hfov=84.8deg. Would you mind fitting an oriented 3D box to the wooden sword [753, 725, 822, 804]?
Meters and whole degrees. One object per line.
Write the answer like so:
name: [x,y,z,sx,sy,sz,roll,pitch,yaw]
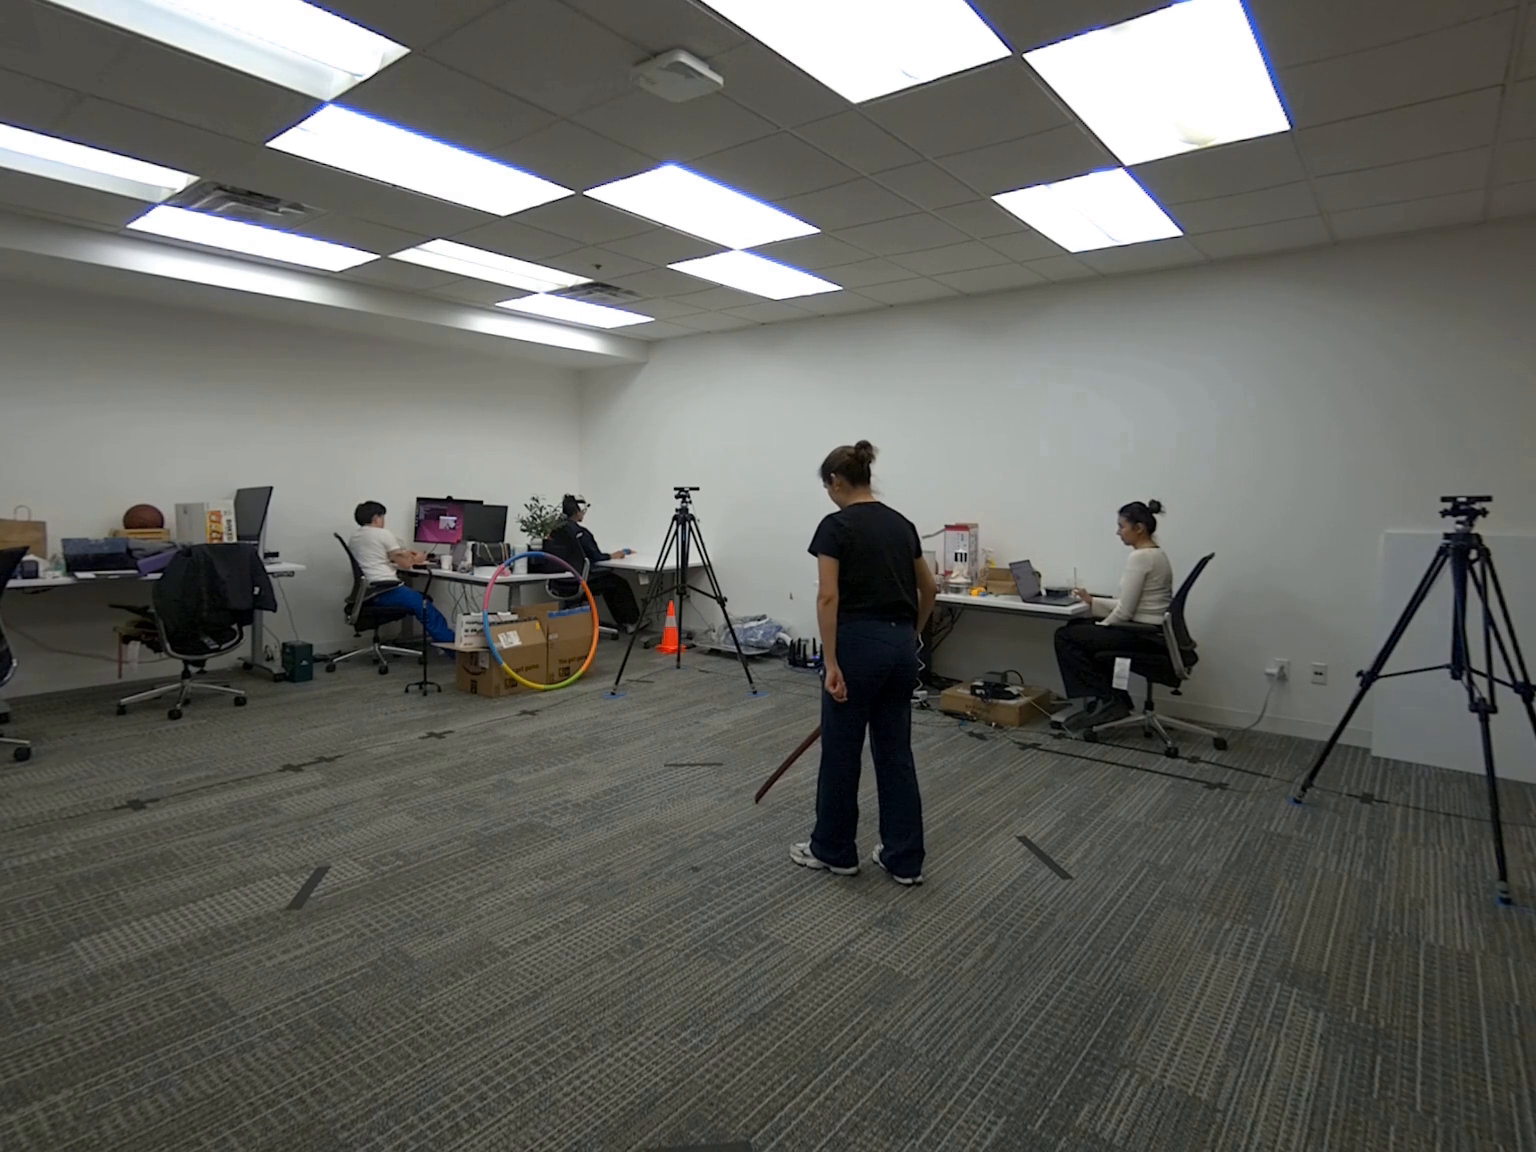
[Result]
wooden sword: [0.244,0.632,3.567,0.024,1.022,0.051,36,27,-5]
